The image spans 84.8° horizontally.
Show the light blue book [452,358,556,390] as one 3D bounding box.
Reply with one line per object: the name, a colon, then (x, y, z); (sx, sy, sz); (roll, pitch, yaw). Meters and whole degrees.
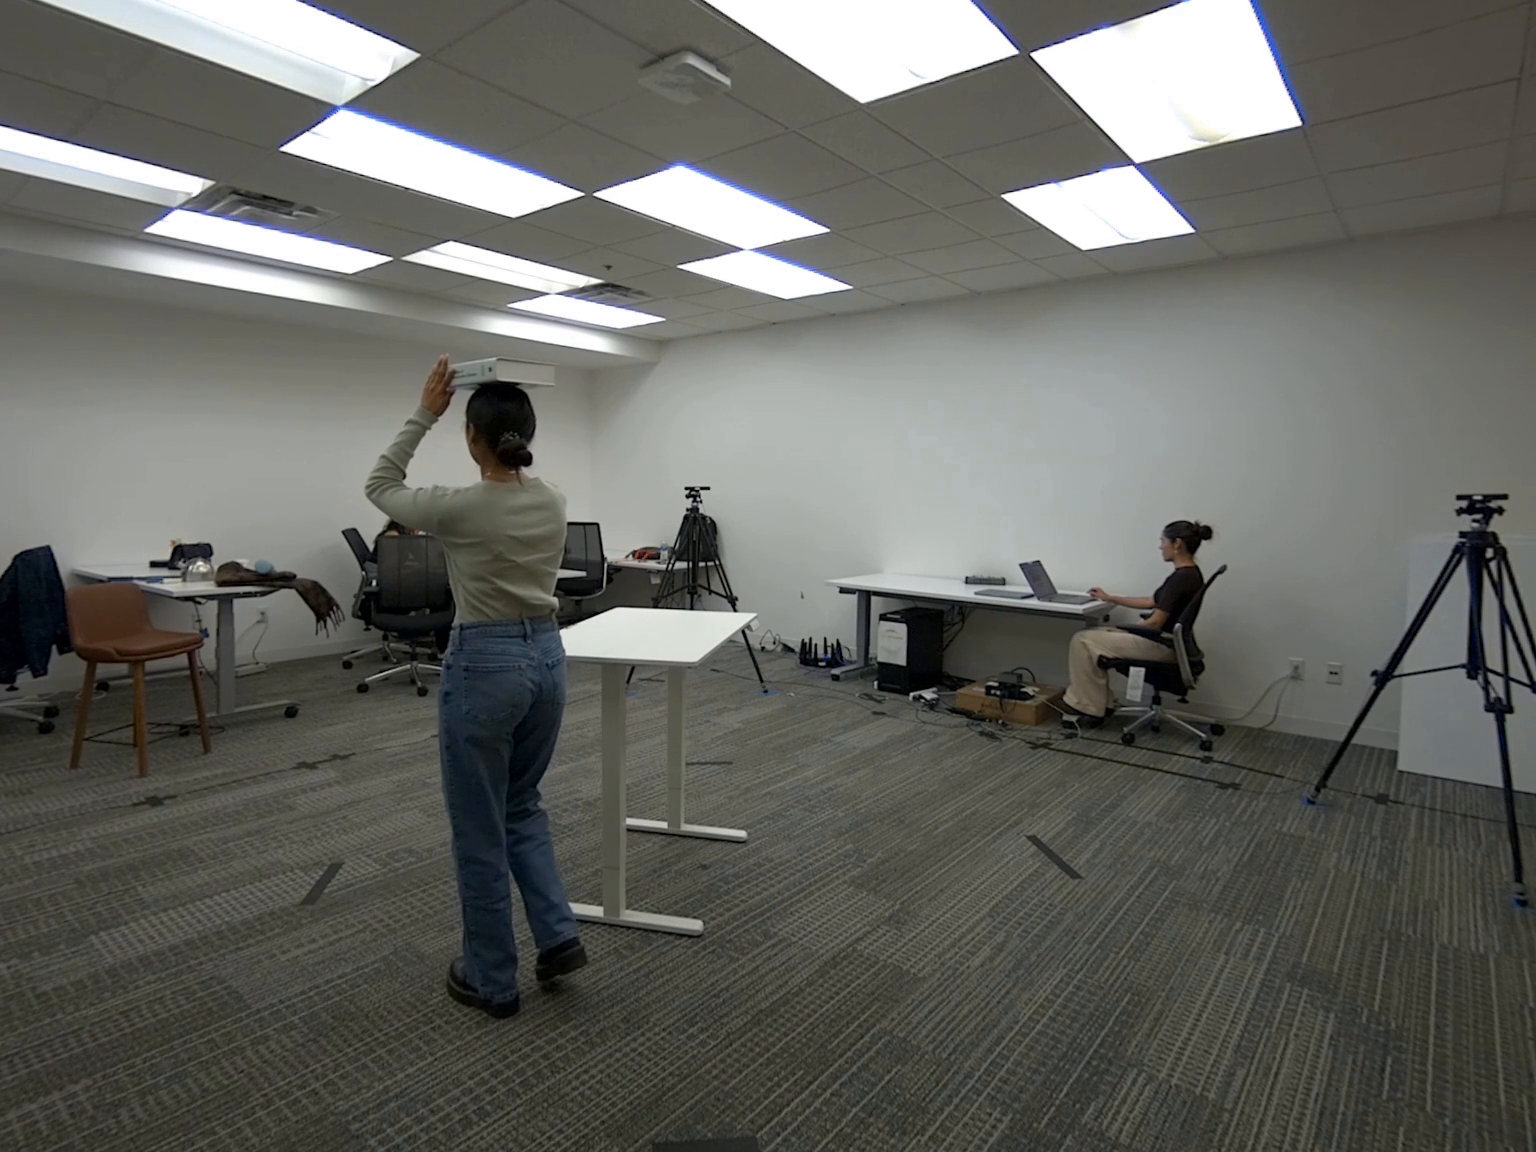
light blue book: (-0.719, -0.526, 2.218); (0.270, 0.058, 0.186); (7, 9, 36)
